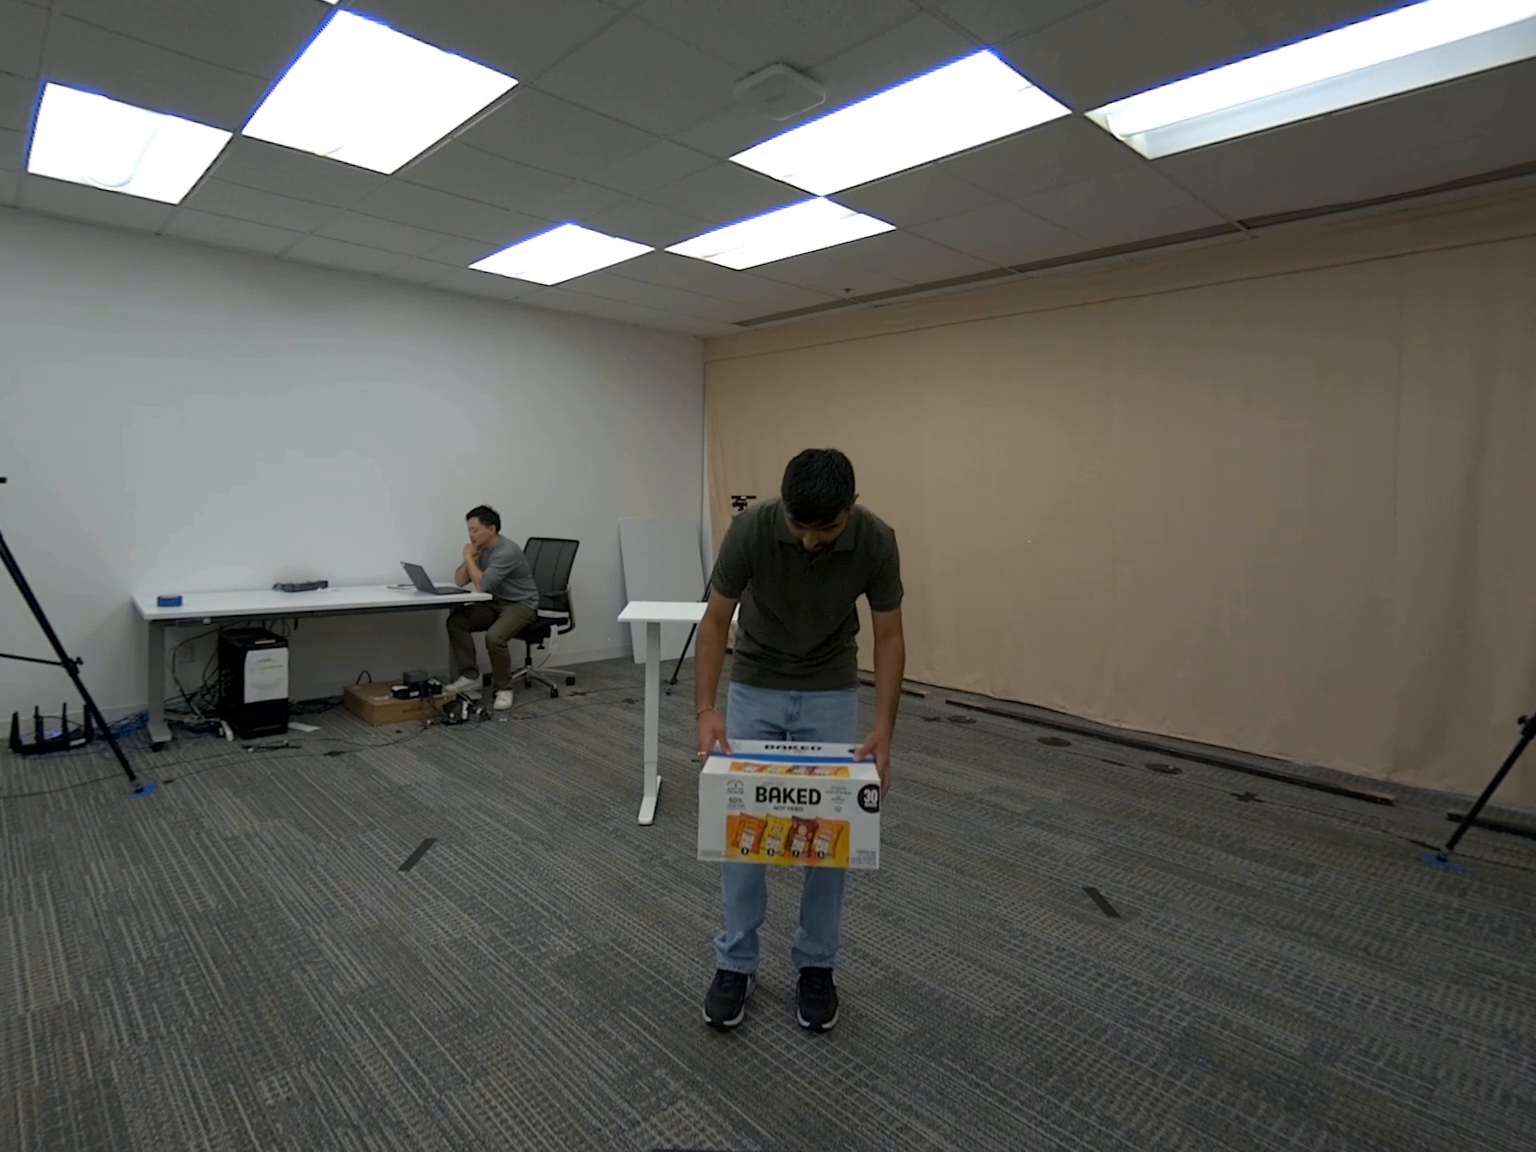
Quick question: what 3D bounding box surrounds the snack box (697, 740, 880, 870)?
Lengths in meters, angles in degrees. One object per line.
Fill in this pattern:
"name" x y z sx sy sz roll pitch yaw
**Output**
"snack box" 0.042 0.550 2.042 0.407 0.205 0.339 2 2 4
